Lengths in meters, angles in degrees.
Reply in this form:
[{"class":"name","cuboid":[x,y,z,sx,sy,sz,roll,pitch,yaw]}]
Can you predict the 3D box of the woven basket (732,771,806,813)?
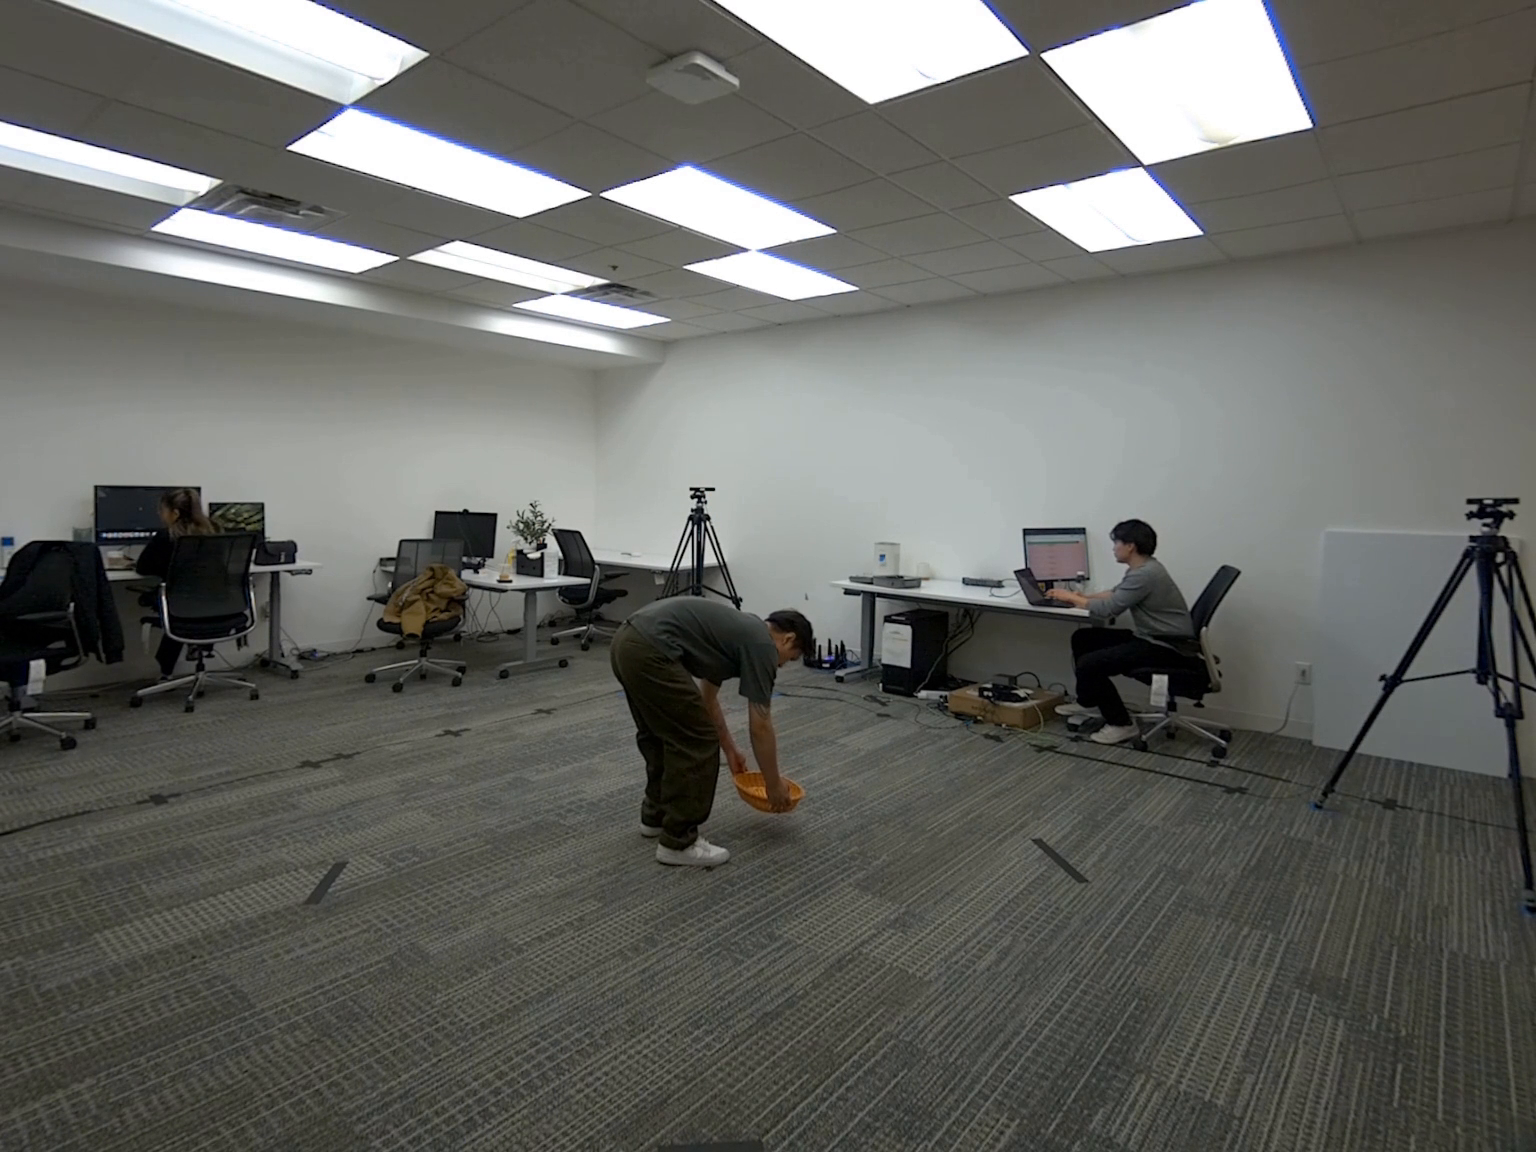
[{"class":"woven basket","cuboid":[-0.022,0.872,3.464,0.246,0.073,0.360,2,4,-24]}]
